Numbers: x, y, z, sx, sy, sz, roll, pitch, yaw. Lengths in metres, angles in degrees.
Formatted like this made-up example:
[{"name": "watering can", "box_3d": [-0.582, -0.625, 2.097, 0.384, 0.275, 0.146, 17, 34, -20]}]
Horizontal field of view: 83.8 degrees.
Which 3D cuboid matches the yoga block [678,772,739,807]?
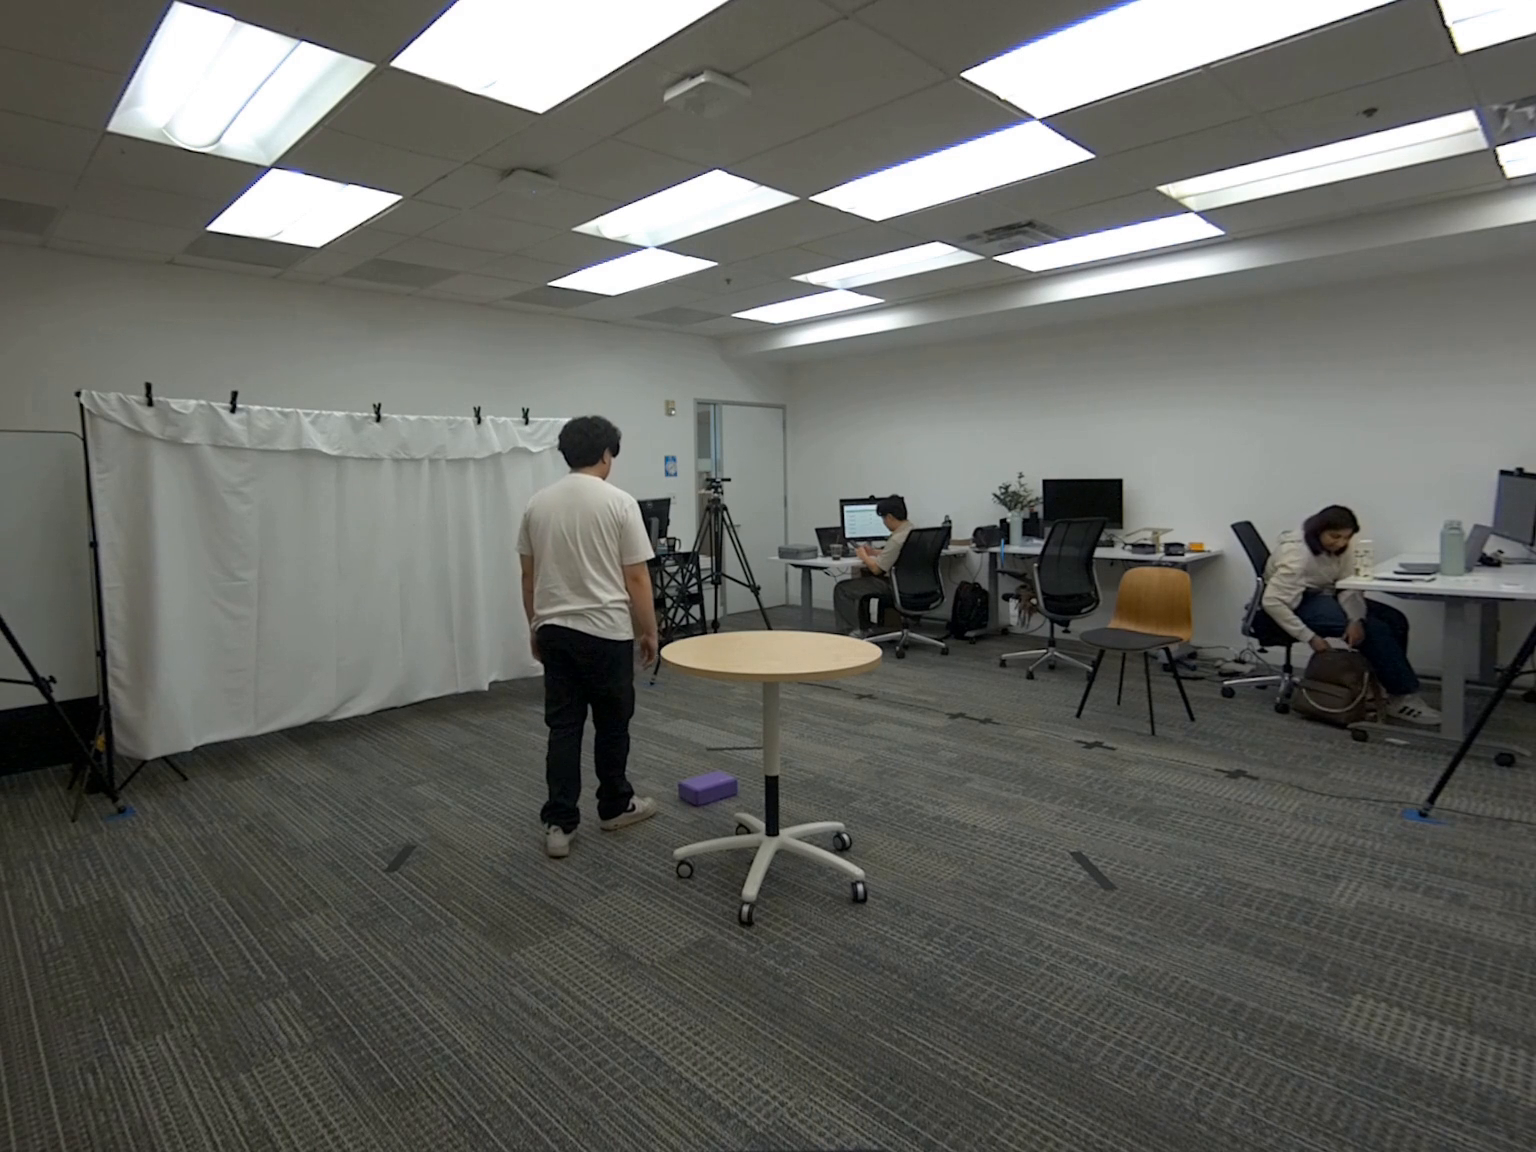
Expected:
[{"name": "yoga block", "box_3d": [-0.265, 0.933, 3.765, 0.223, 0.076, 0.153, -5, 7, -39]}]
